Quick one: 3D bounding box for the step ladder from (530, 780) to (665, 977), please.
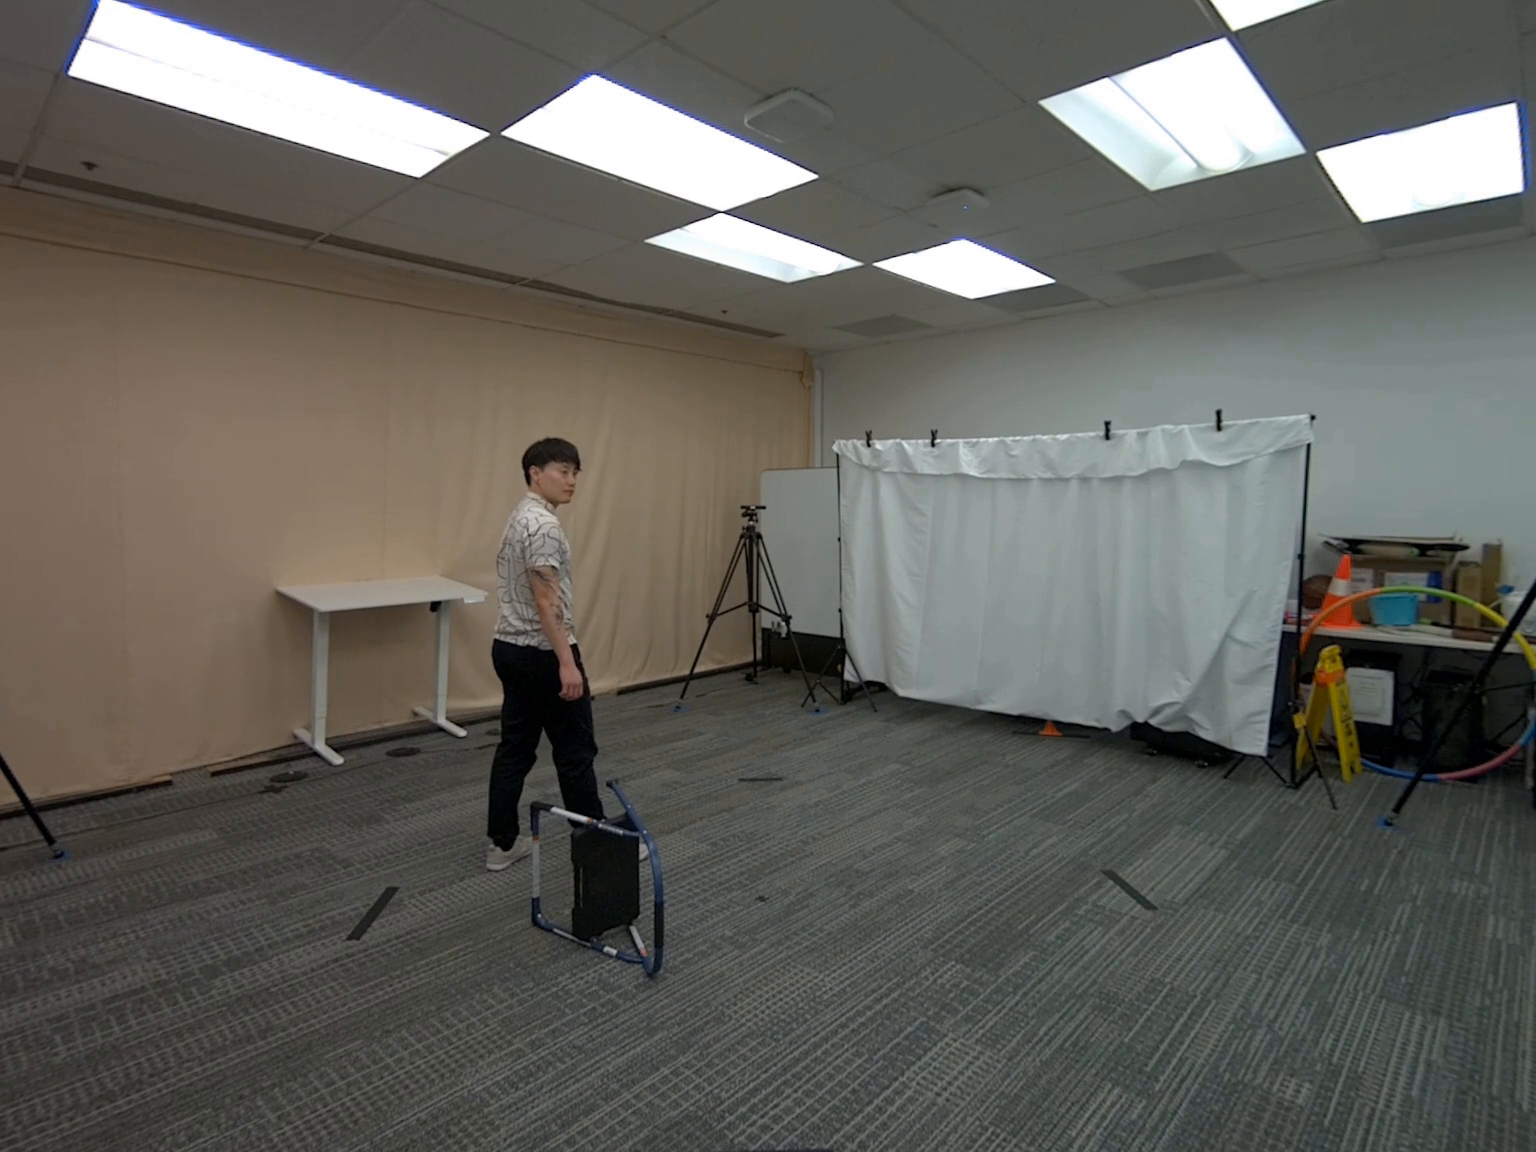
[{"bbox_3d":[-0.457,0.963,2.675,0.339,0.429,0.626,-5,6,-42],"label":"step ladder"}]
